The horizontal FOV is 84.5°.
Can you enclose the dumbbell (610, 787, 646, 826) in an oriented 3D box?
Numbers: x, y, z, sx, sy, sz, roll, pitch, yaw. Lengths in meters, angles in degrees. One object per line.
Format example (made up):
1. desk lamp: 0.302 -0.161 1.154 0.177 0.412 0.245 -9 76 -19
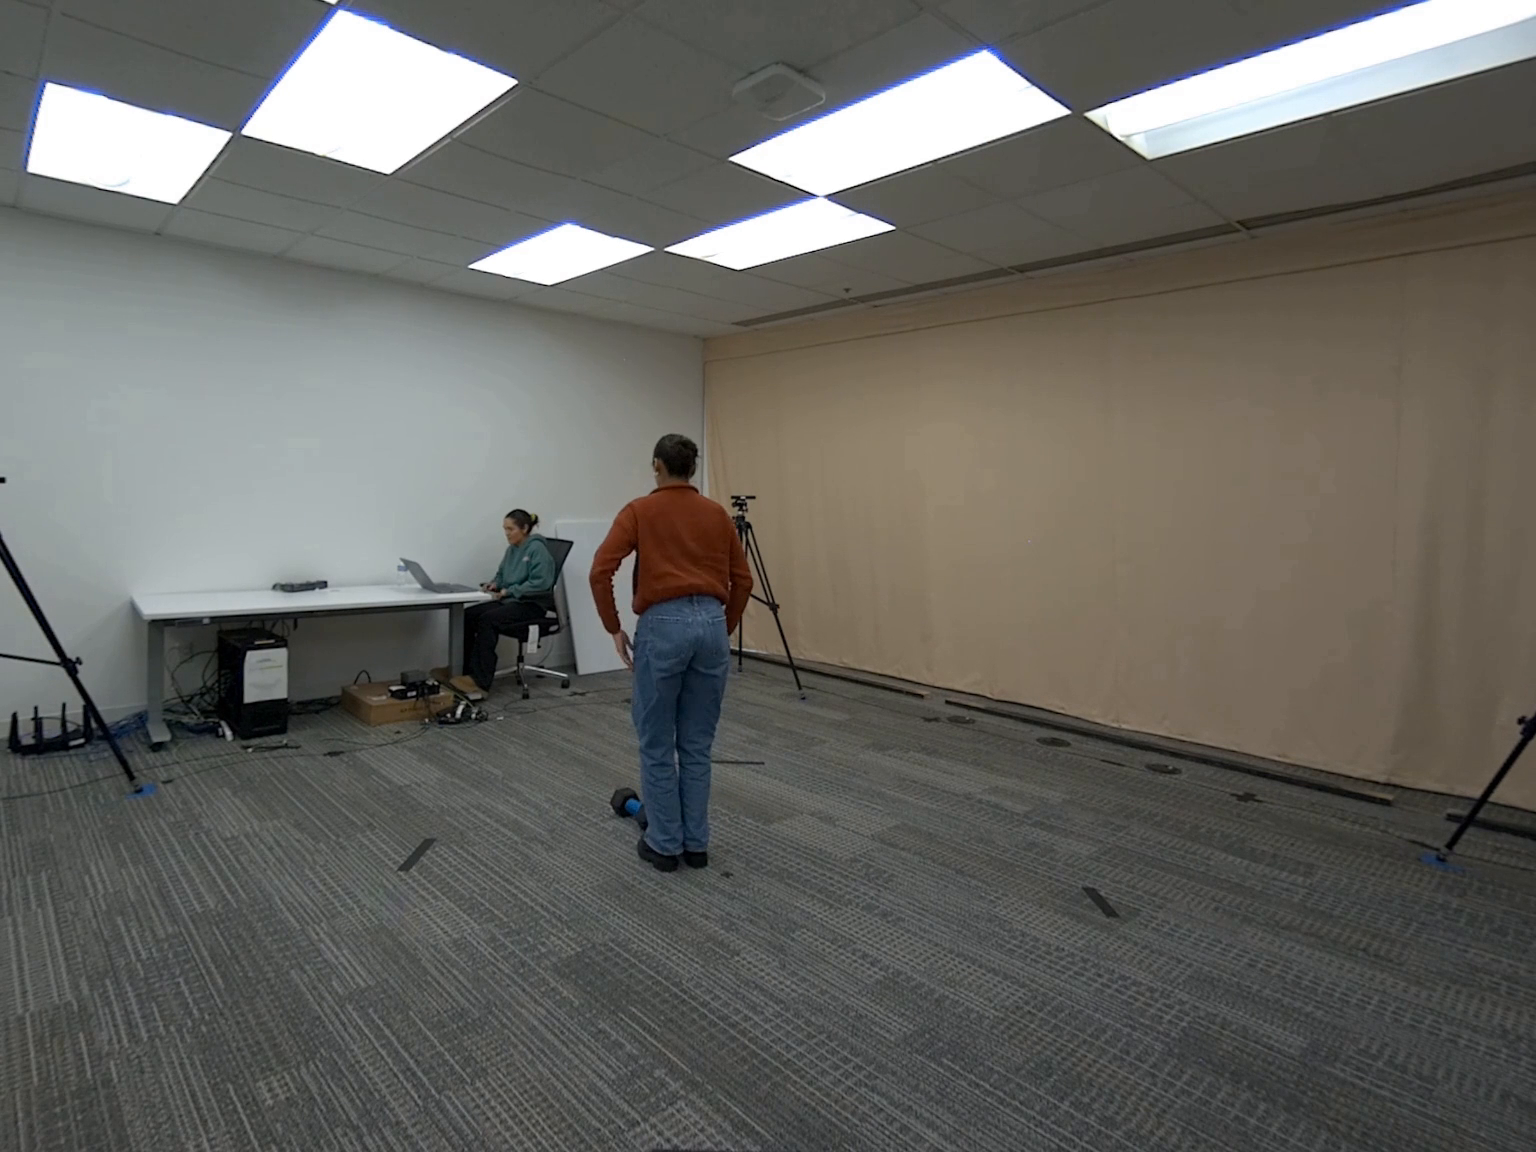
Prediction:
1. dumbbell: -0.562 0.996 3.591 0.108 0.120 0.301 -37 27 -30
